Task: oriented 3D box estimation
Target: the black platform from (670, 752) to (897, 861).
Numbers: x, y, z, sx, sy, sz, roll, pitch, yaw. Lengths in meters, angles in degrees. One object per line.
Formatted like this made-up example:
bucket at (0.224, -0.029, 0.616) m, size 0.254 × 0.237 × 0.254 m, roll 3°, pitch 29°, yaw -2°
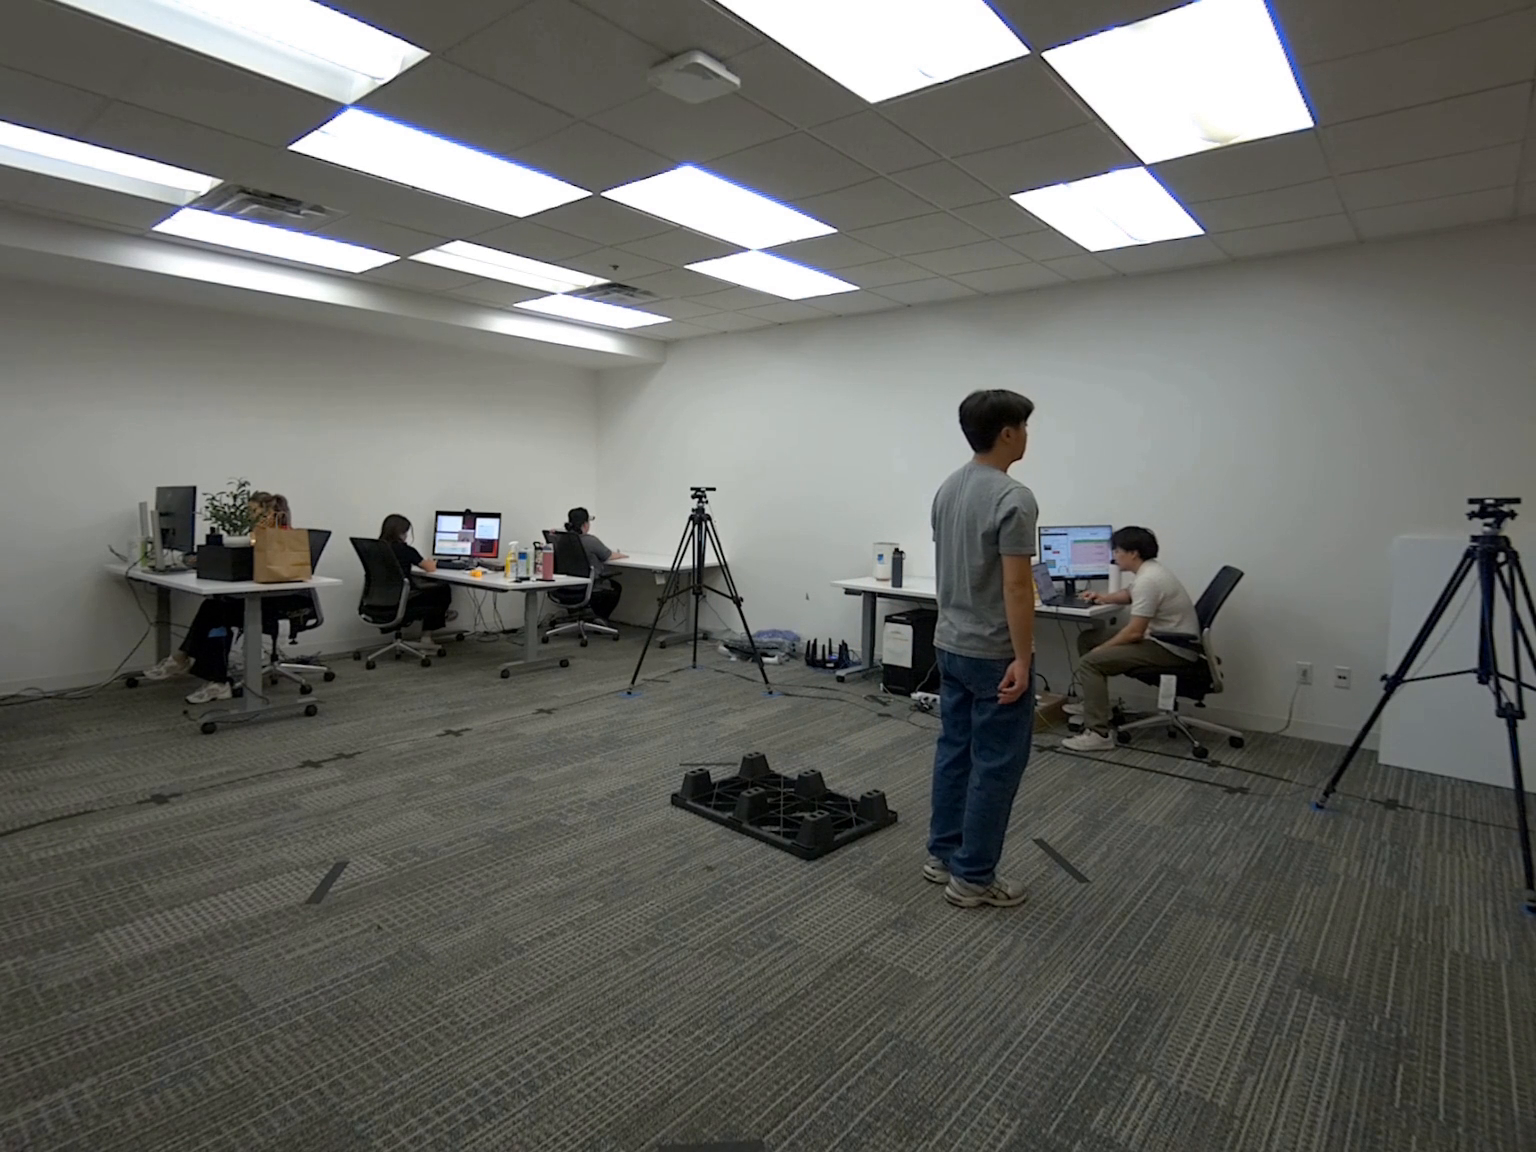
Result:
black platform at (0.047, 0.950, 3.667) m, size 0.833 × 0.143 × 0.587 m, roll 6°, pitch 7°, yaw 43°
